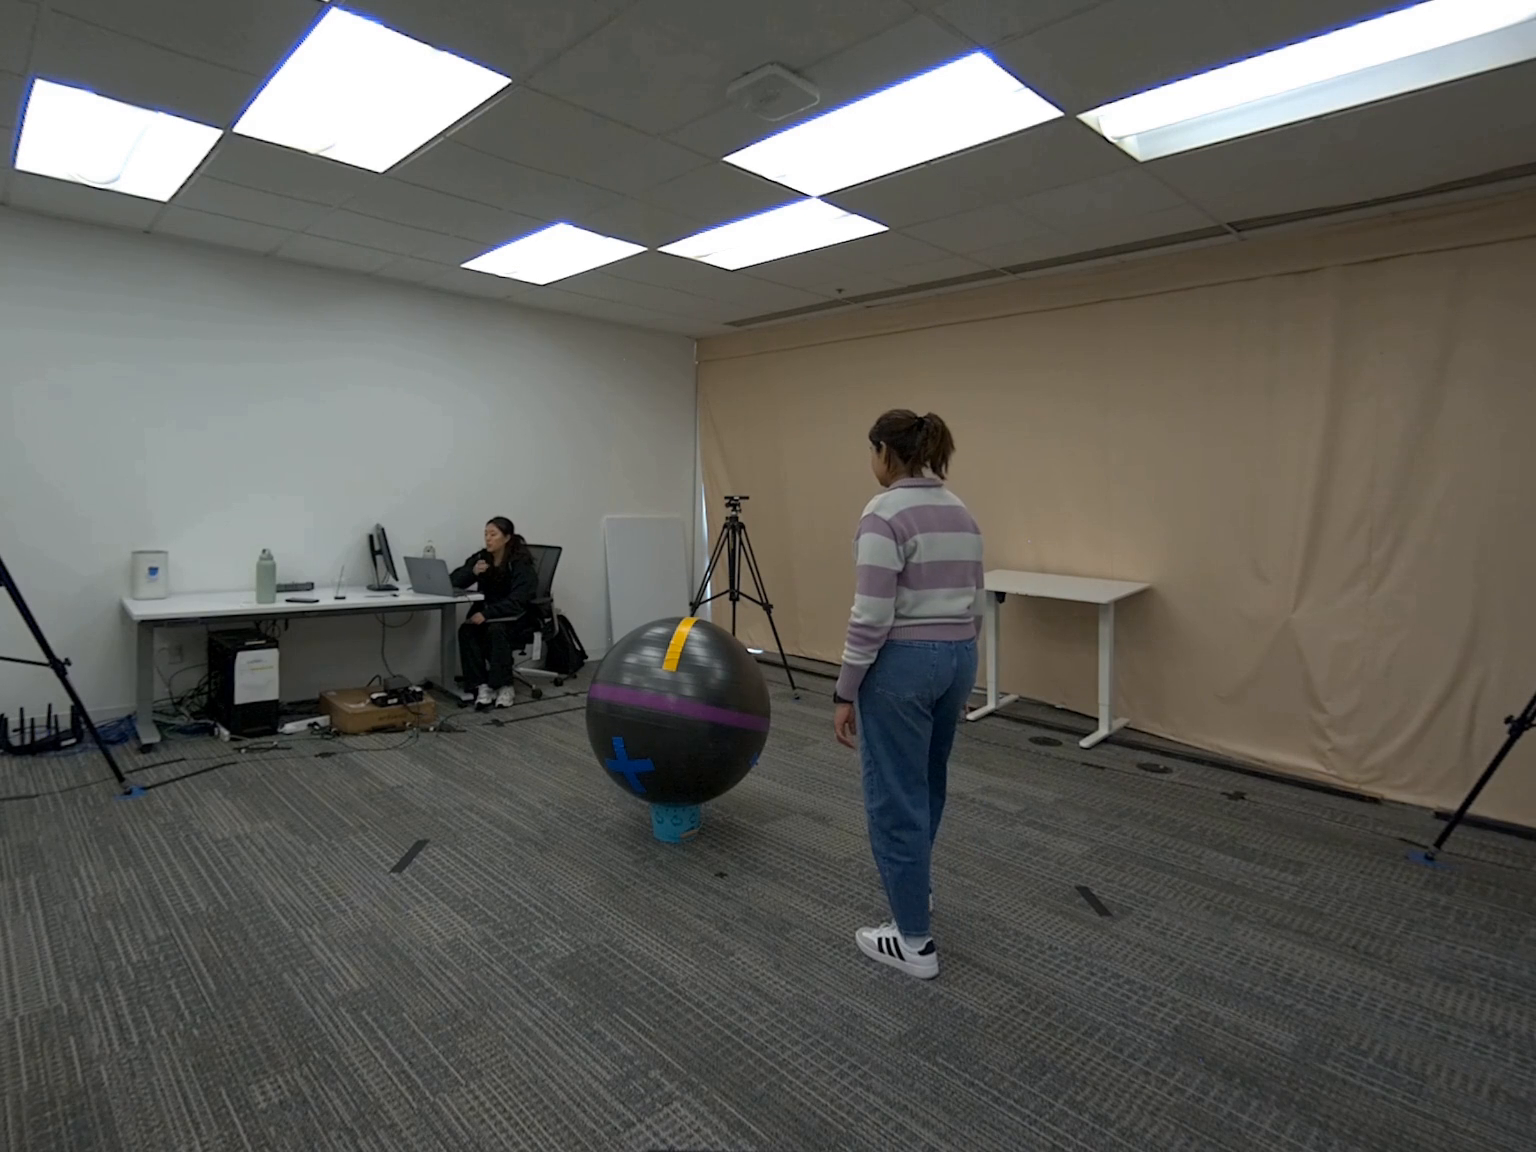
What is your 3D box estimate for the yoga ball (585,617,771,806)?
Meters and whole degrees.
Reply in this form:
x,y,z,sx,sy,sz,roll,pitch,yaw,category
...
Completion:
x,y,z,sx,sy,sz,roll,pitch,yaw,category
-0.375,0.552,3.466,0.757,0.756,0.761,1,4,-1,yoga ball
